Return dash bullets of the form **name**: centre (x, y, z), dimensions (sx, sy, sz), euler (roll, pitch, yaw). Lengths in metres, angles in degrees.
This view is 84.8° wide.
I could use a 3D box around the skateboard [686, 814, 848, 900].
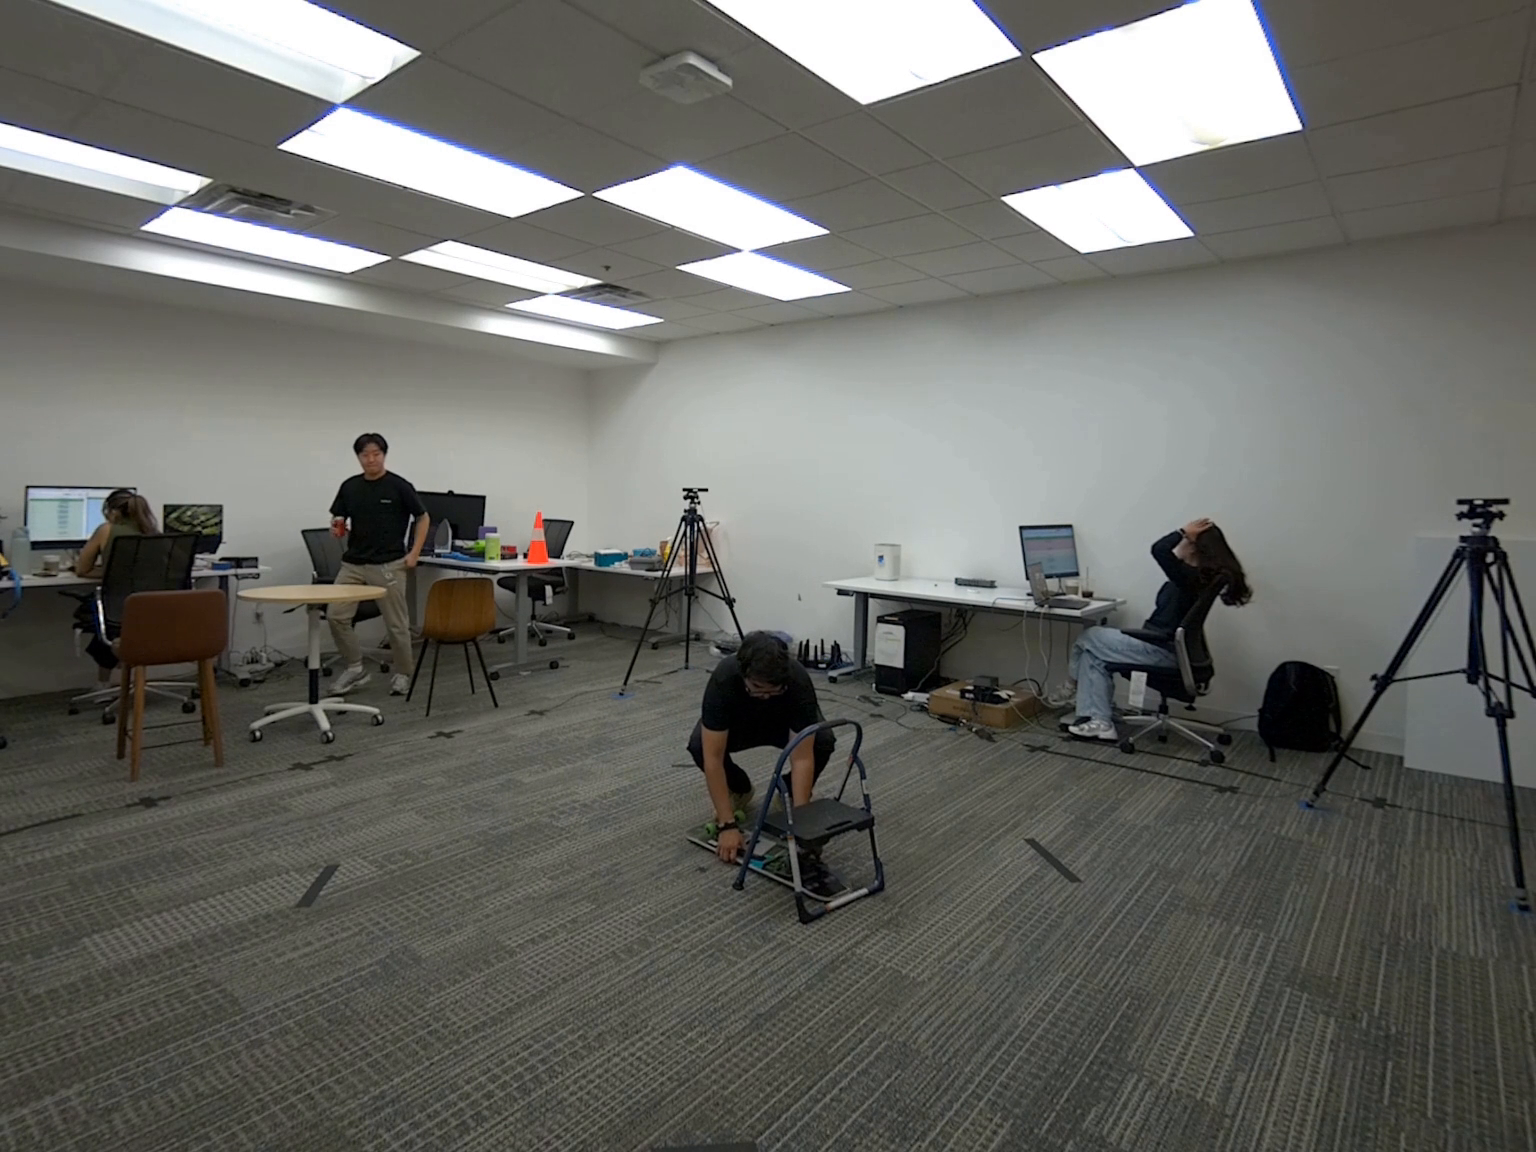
- **skateboard**: centre (-0.035, 1.010, 3.179), dimensions (0.189, 0.109, 0.812), euler (-13, 13, -40)
